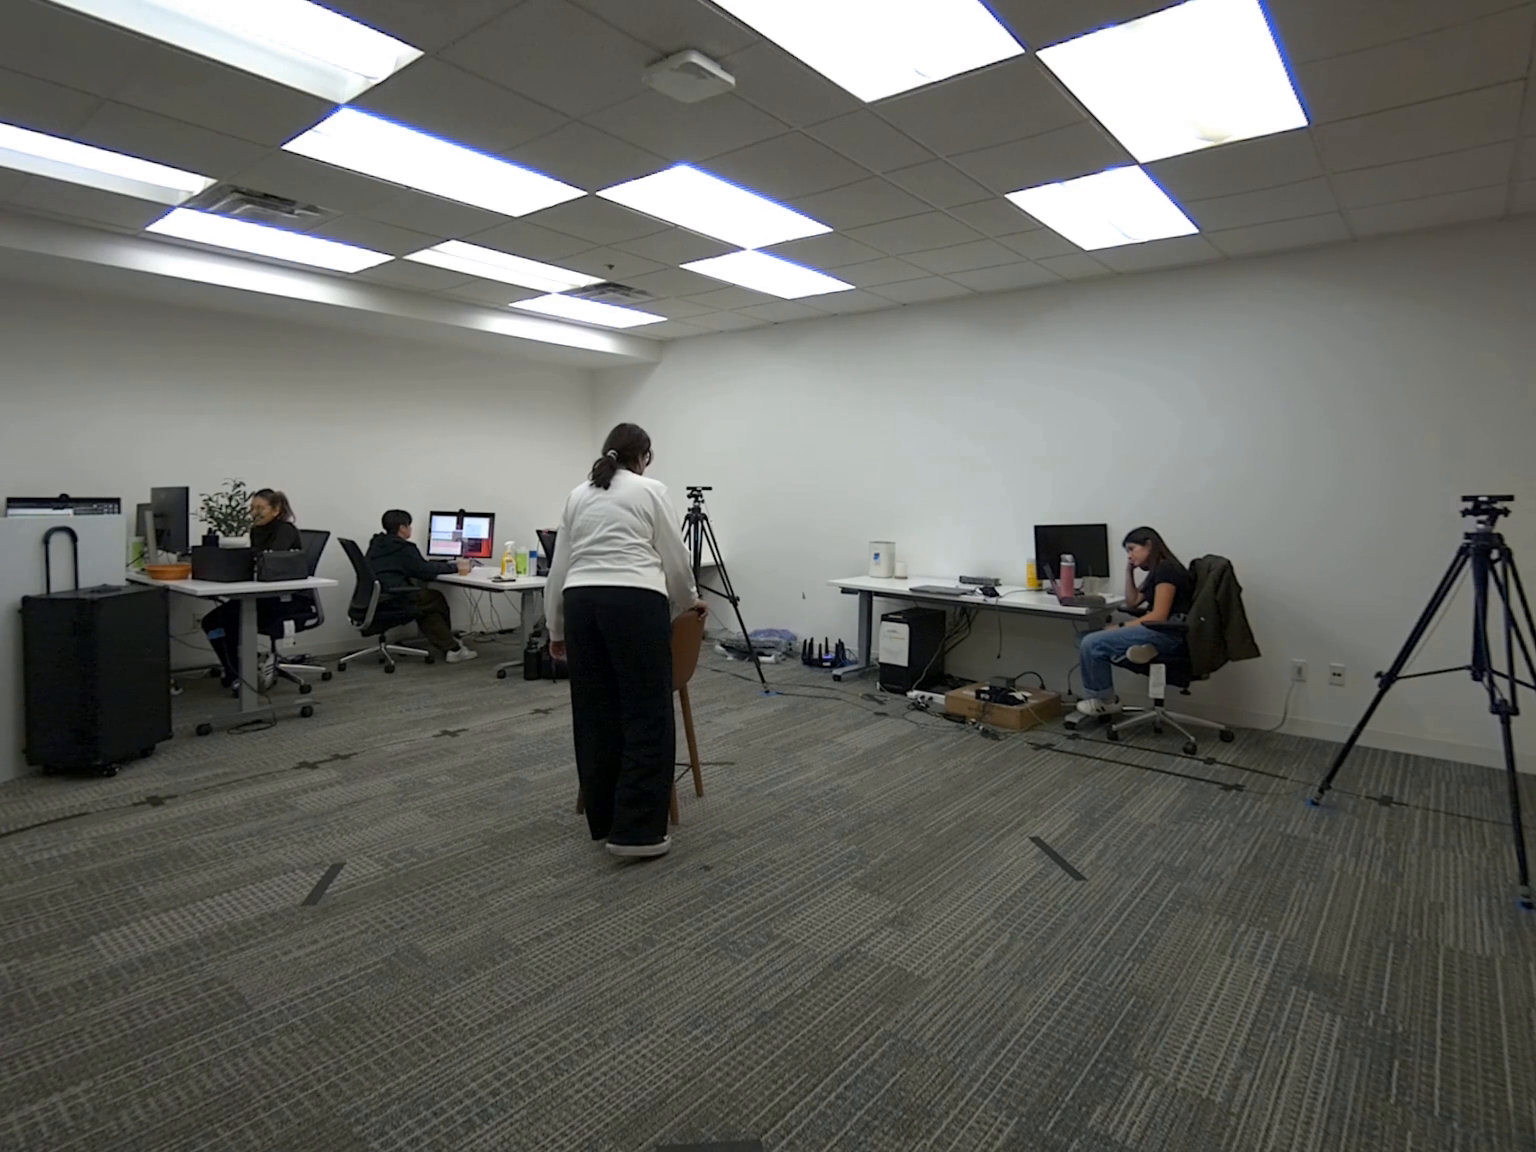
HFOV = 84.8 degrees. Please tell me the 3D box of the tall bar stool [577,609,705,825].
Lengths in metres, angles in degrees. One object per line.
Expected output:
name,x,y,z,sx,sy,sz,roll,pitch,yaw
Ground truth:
tall bar stool,-0.530,0.559,3.719,0.476,0.887,0.450,4,4,15
